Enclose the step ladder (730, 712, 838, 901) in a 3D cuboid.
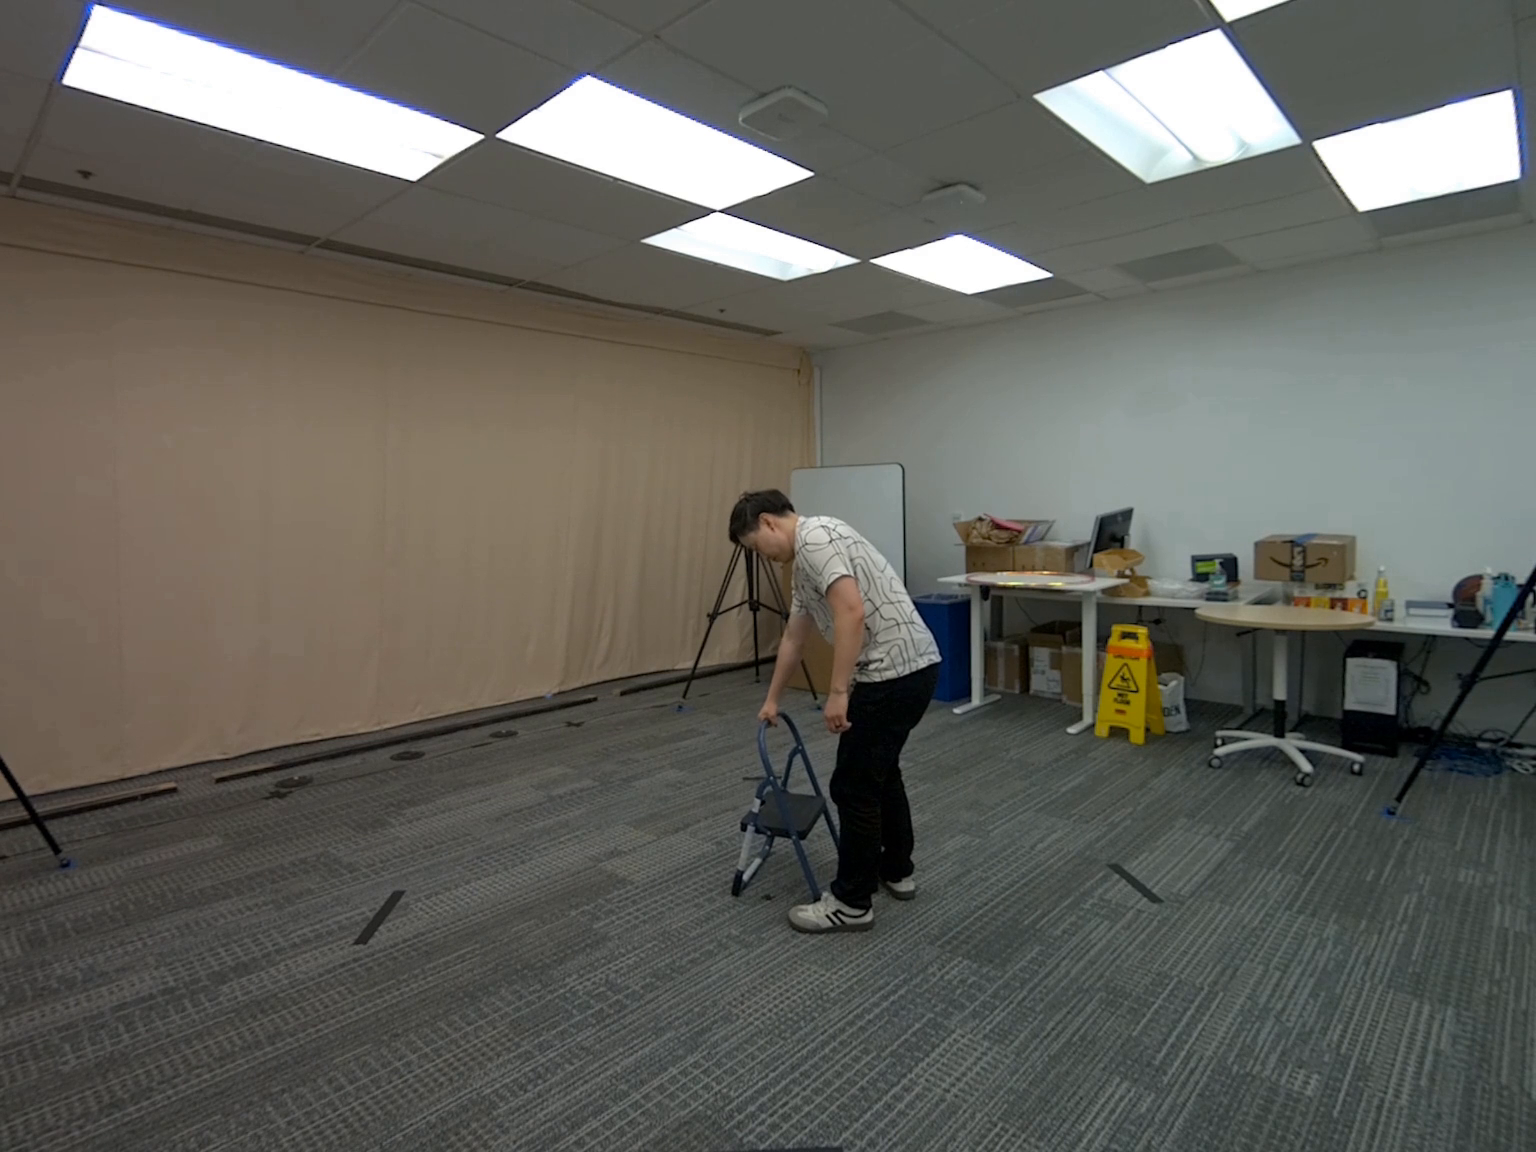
[{"bbox_3d":[0.088,0.820,3.110,0.356,0.604,0.423,0,4,19],"label":"step ladder"}]
